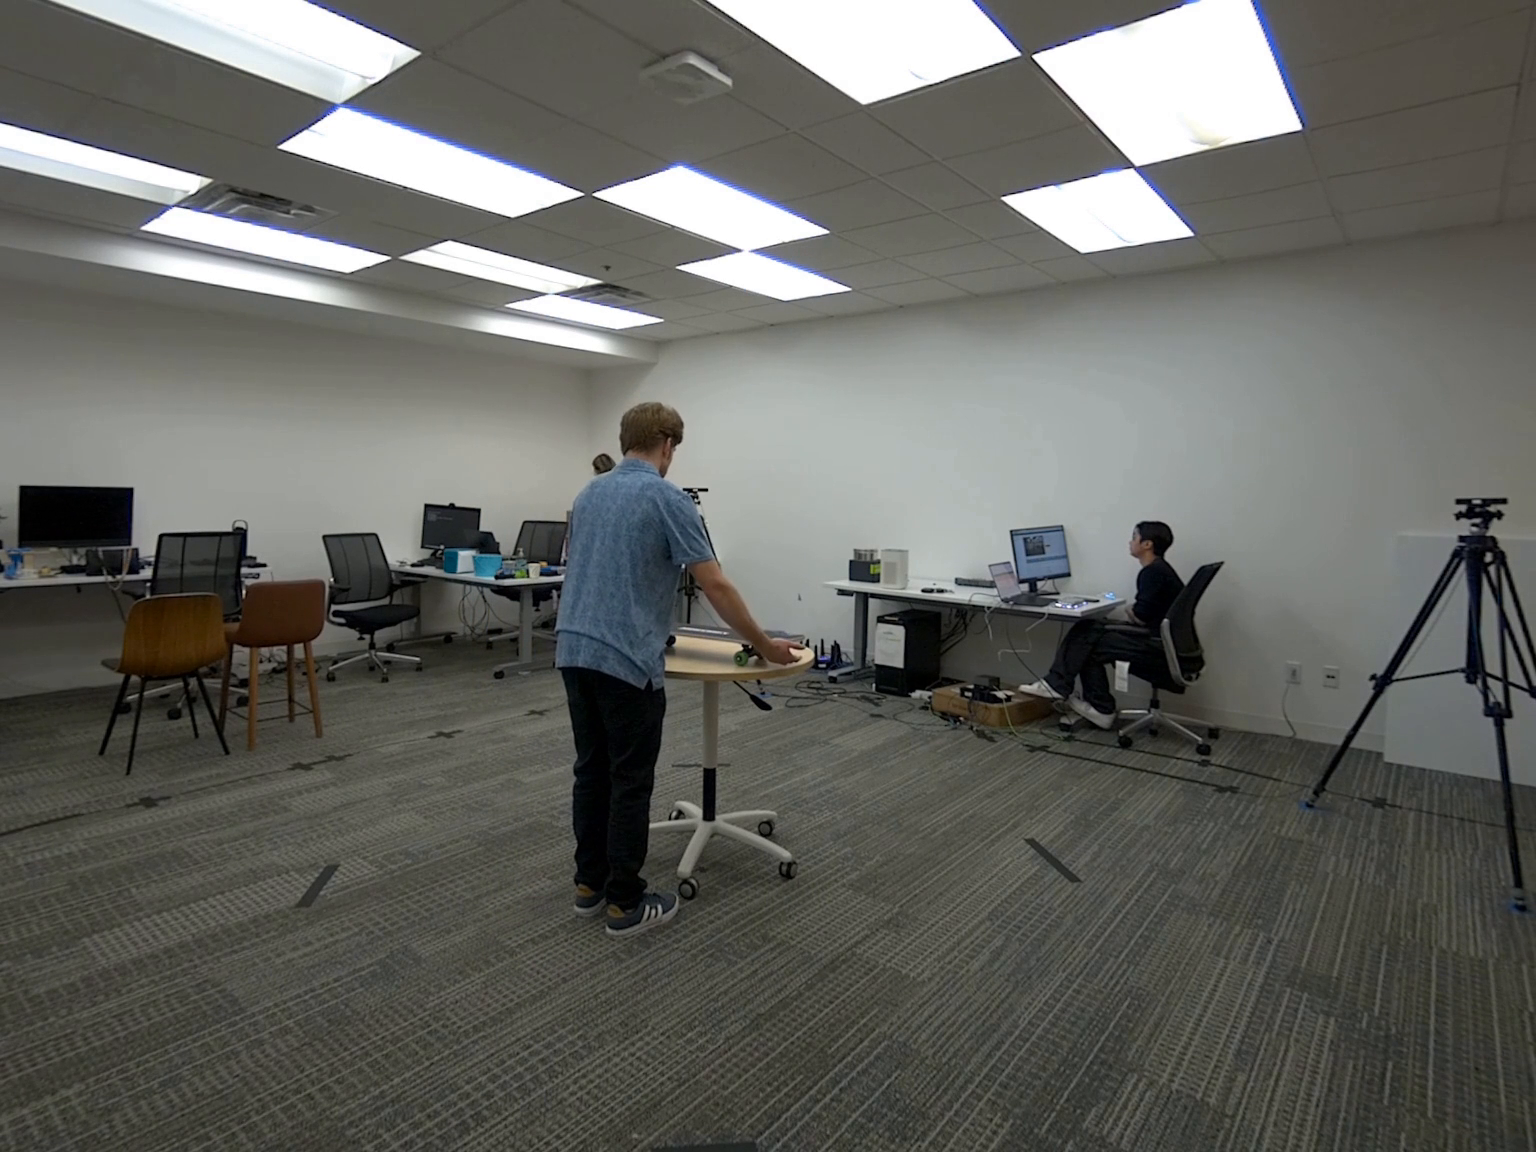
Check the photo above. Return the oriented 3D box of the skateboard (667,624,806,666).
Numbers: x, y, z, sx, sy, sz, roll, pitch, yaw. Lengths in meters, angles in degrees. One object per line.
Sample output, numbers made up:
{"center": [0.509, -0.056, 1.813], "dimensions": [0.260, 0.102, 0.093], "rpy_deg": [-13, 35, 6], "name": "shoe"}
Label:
{"center": [-0.261, 0.235, 3.098], "dimensions": [0.808, 0.110, 0.188], "rpy_deg": [4, 5, 29], "name": "skateboard"}
